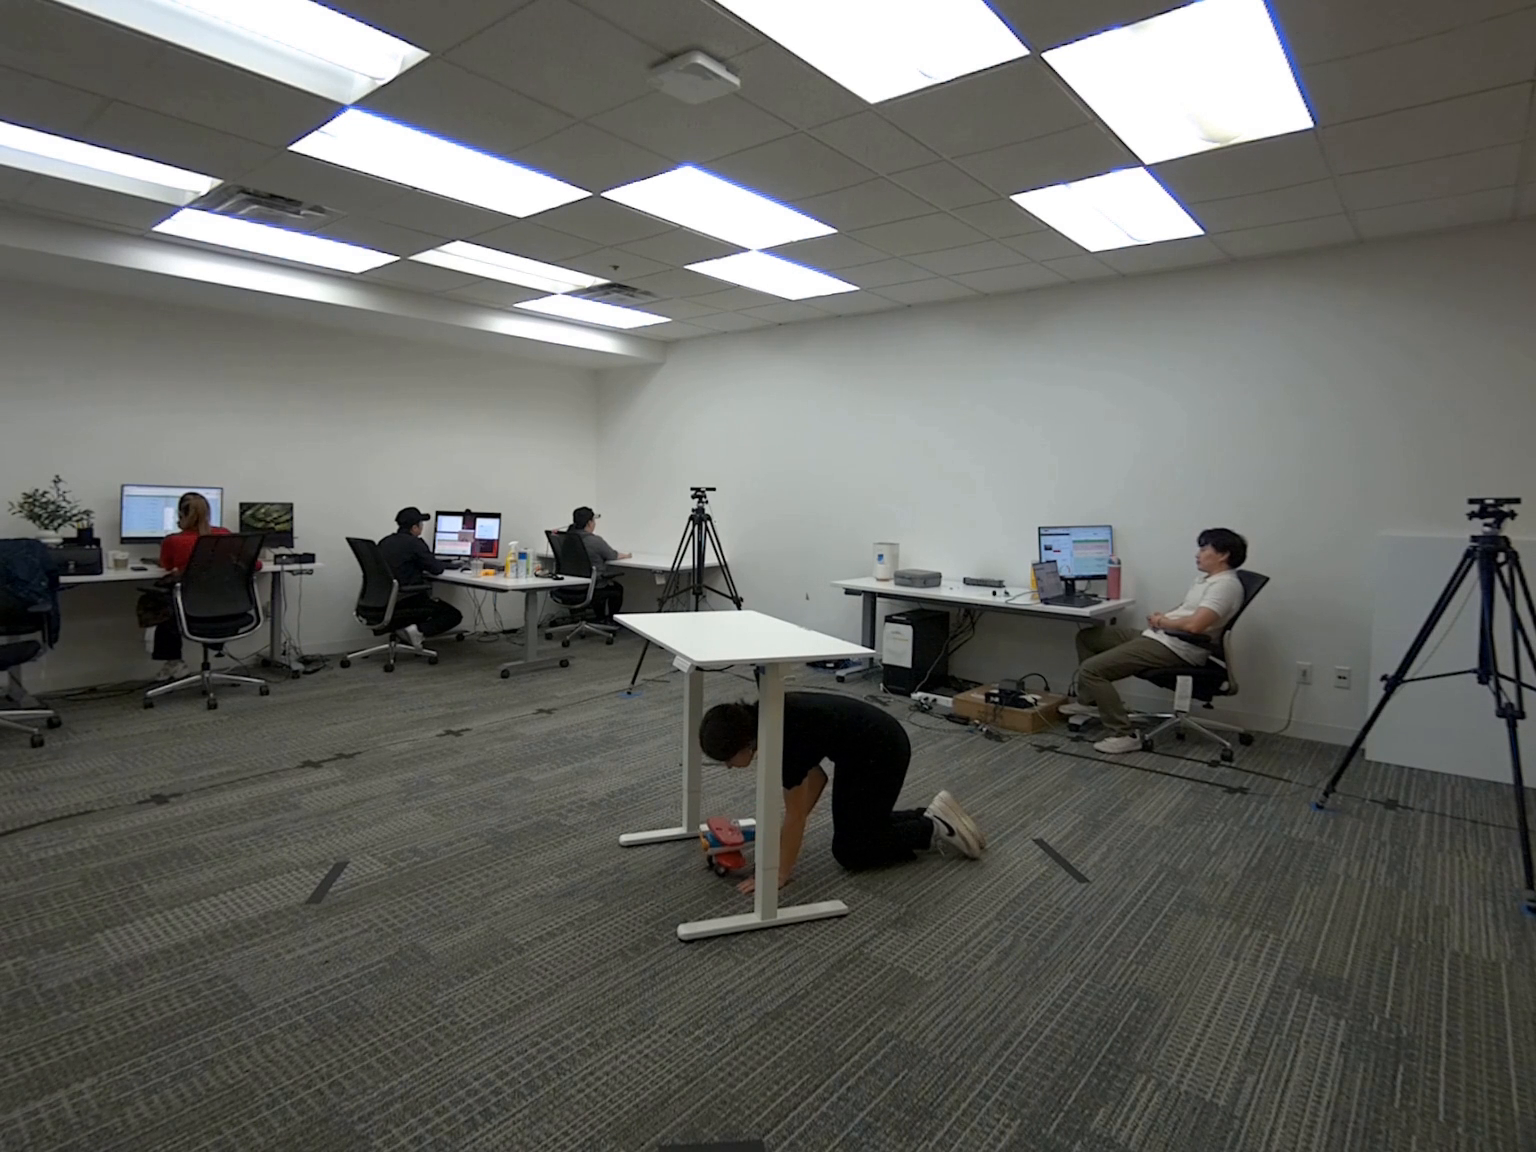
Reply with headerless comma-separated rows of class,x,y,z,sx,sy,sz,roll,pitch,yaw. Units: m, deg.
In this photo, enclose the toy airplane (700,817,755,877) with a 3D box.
toy airplane,-0.135,0.976,3.131,0.258,0.154,0.255,-4,15,41
